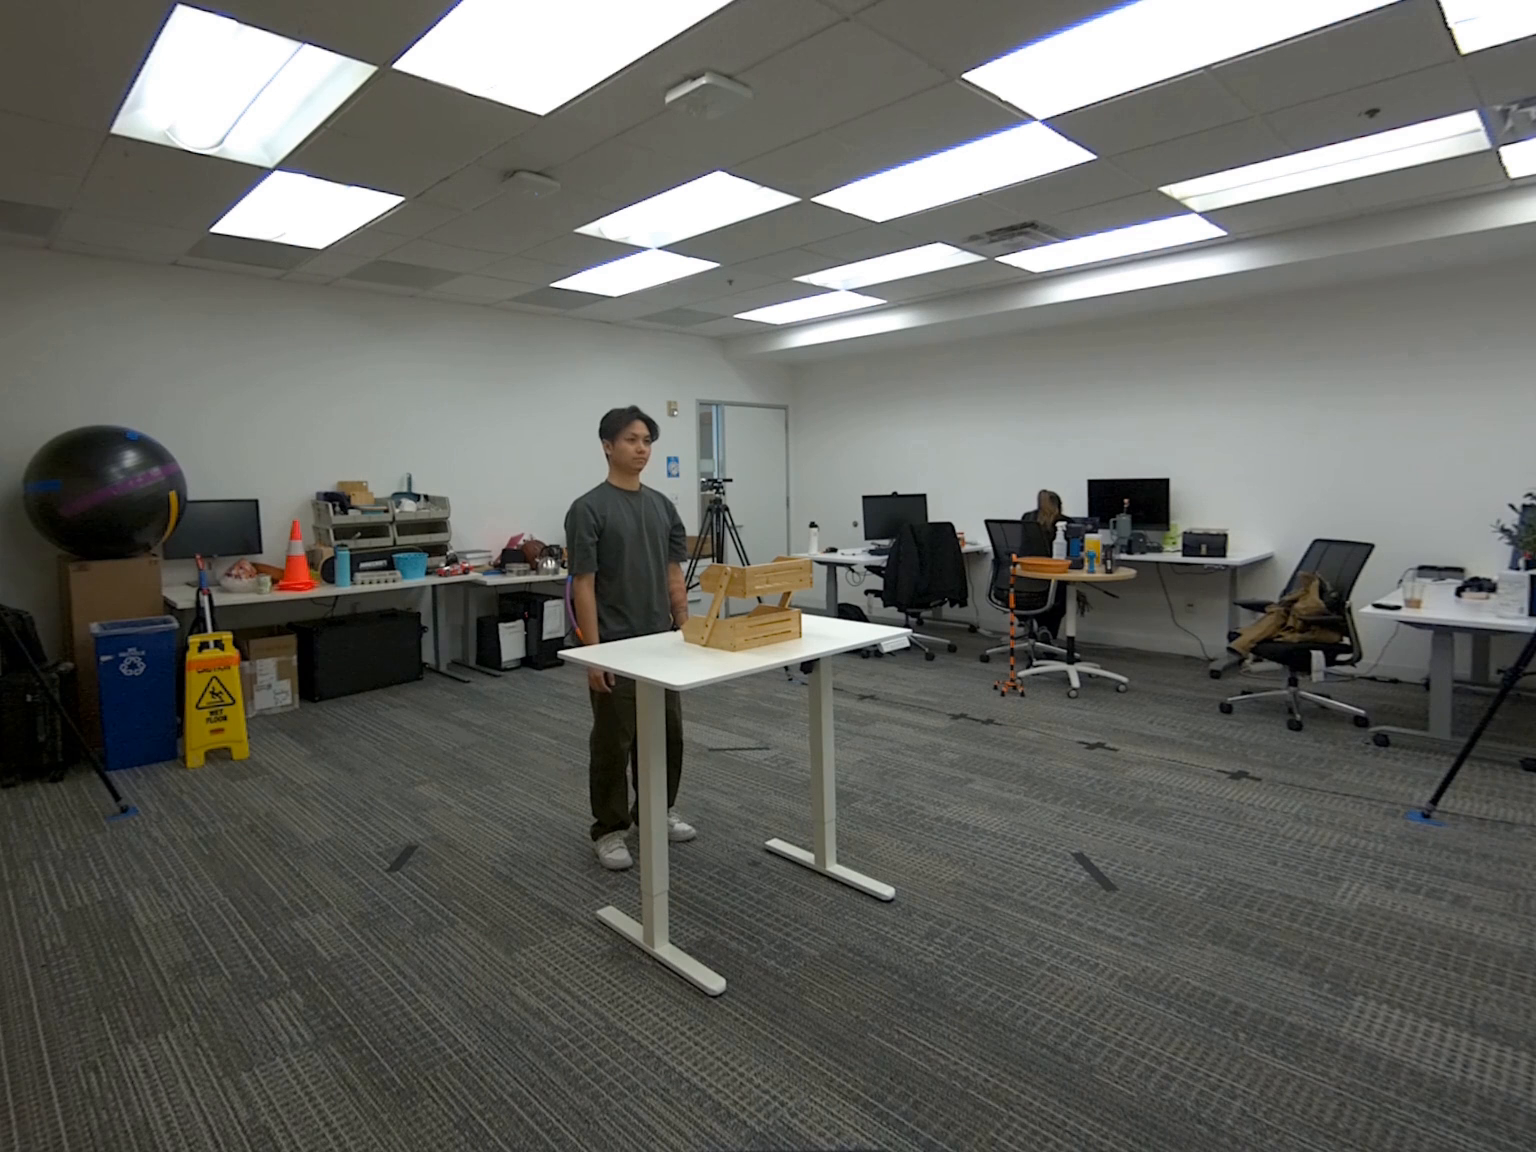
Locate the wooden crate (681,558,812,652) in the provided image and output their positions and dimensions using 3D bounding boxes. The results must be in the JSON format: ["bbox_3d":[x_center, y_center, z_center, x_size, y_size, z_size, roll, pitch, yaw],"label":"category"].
[{"bbox_3d":[-0.068,0.076,2.721,0.316,0.272,0.311,-7,8,-43],"label":"wooden crate"}]
